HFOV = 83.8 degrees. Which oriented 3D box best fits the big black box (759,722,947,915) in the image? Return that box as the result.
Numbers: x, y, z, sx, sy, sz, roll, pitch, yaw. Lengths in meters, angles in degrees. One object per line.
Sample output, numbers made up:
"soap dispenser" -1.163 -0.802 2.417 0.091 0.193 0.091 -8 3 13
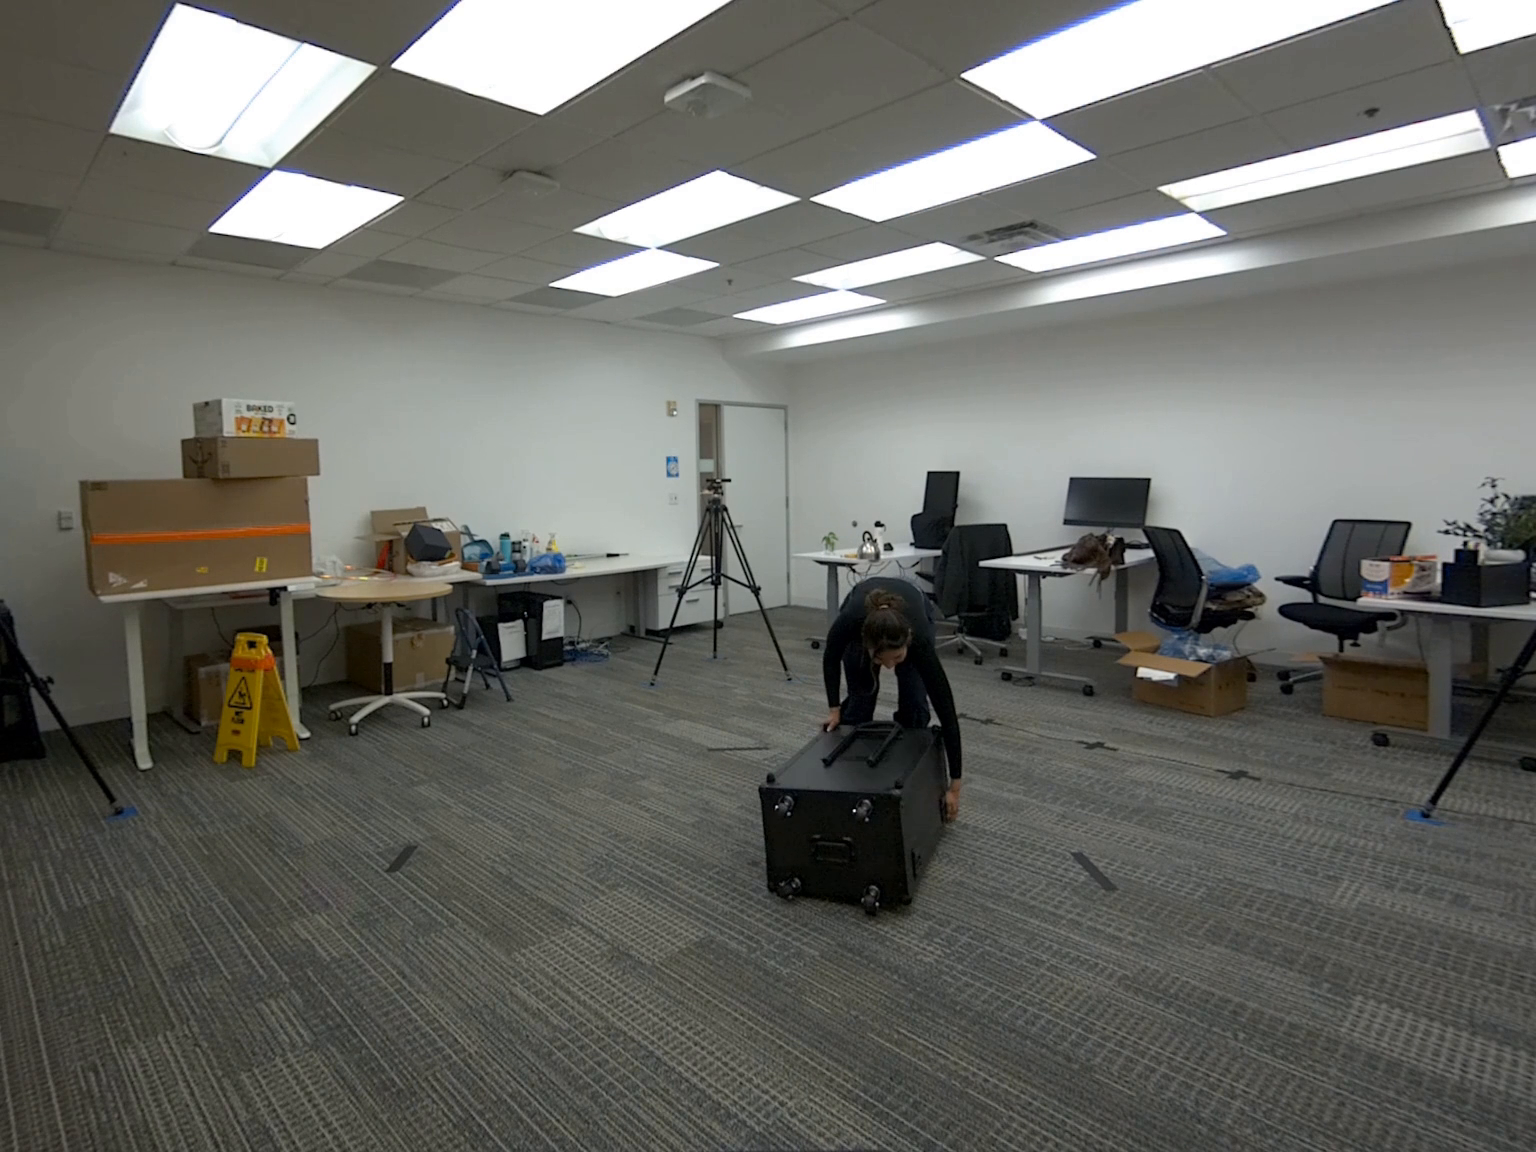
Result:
"big black box" 0.331 0.821 3.093 0.532 0.395 0.848 -4 5 23
